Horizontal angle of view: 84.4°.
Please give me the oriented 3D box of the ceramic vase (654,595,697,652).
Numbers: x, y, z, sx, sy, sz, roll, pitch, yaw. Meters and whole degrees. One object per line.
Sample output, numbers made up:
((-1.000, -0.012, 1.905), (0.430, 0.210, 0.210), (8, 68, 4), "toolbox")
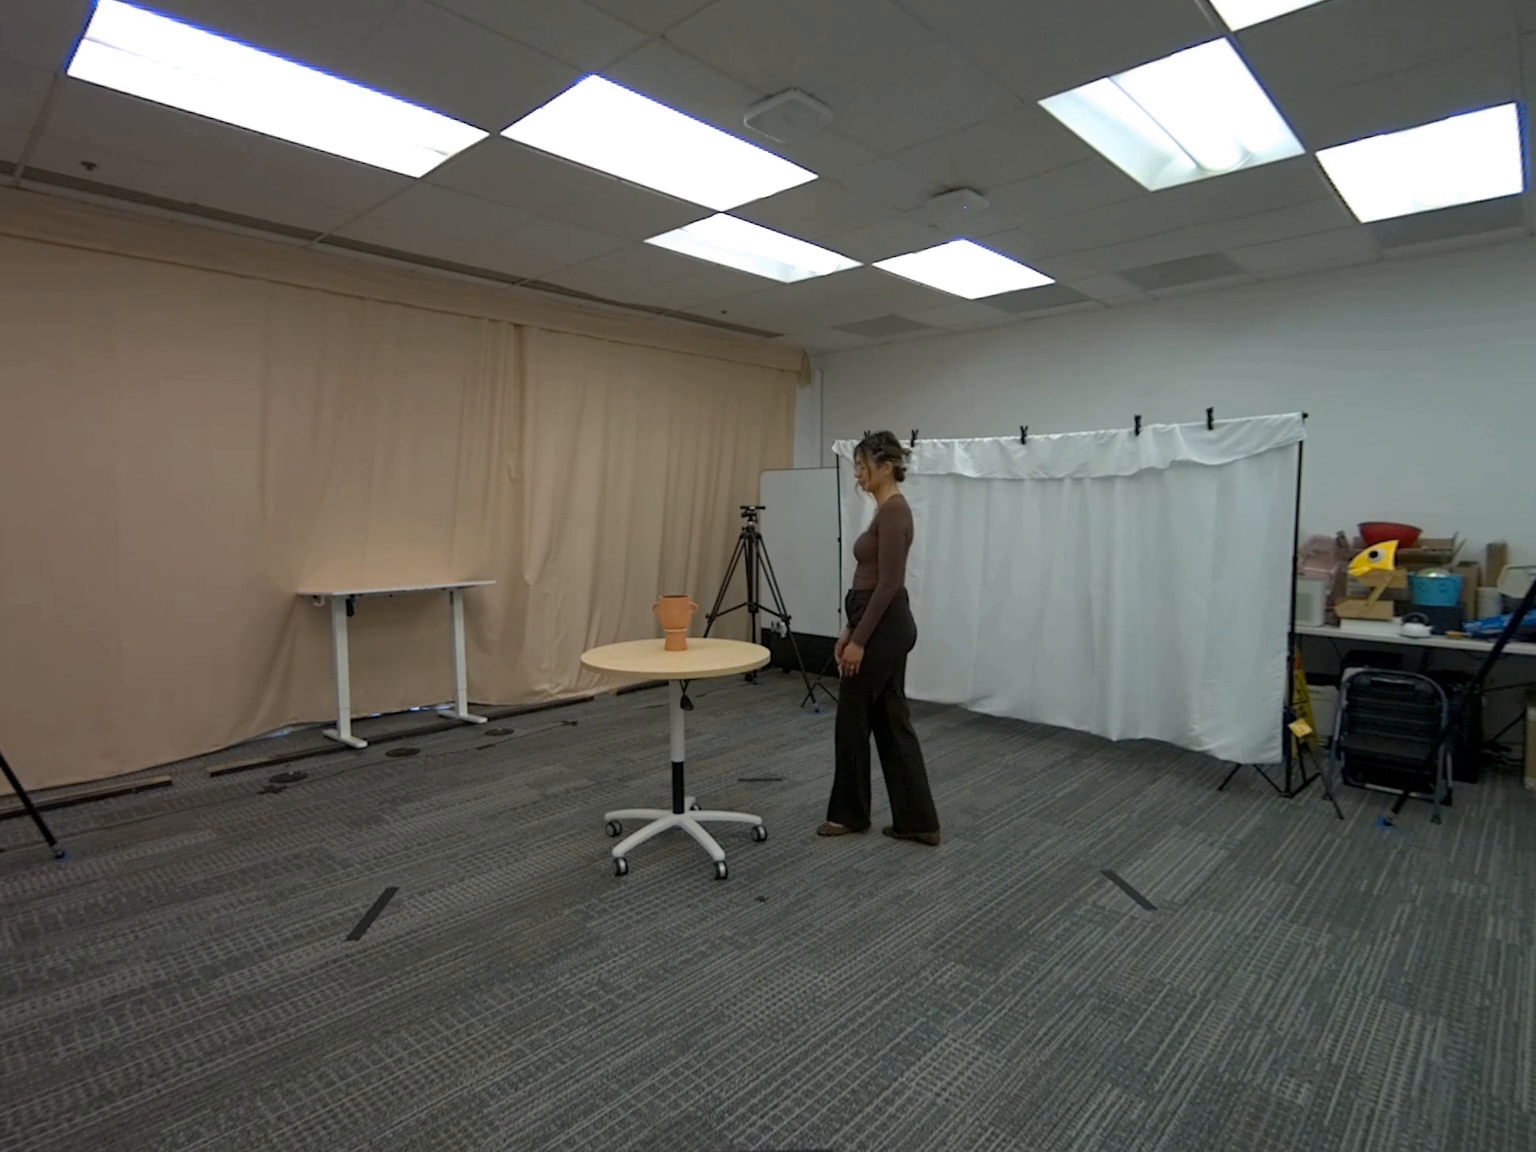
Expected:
((-0.386, 0.198, 3.520), (0.130, 0.219, 0.164), (-2, 4, -40), "ceramic vase")
